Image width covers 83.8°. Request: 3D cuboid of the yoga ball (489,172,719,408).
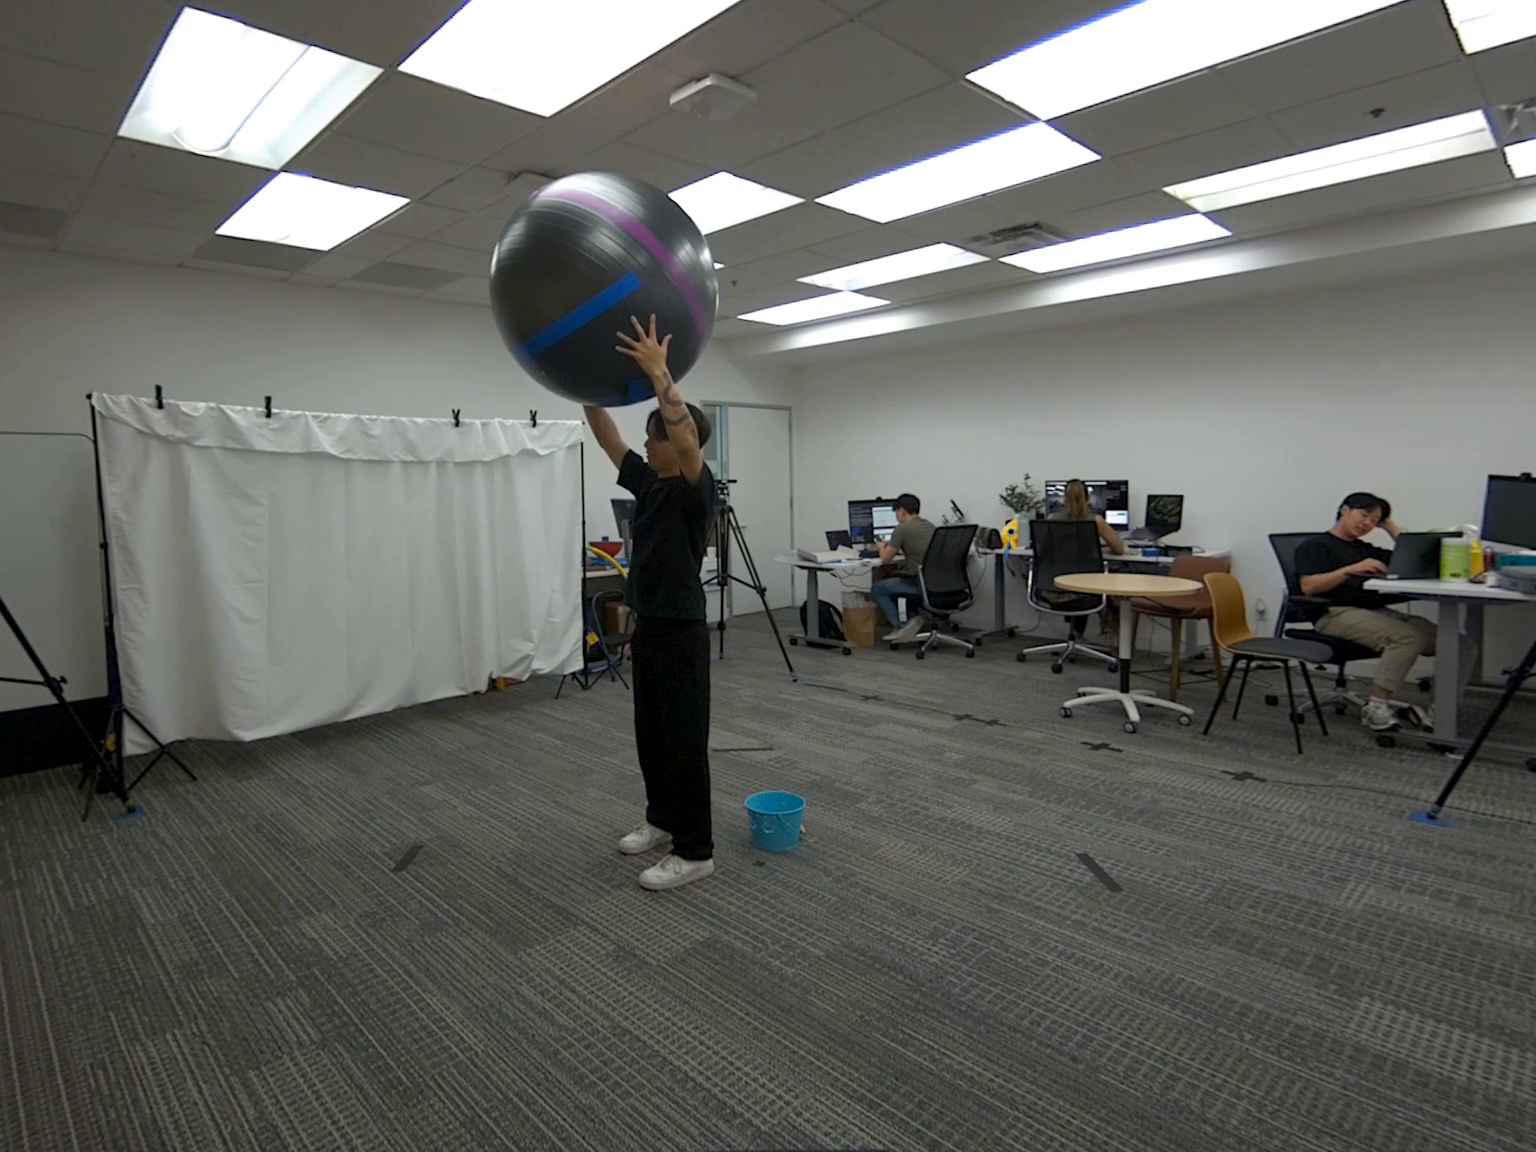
[{"bbox_3d":[-0.554,-0.954,2.889,0.757,0.755,0.762,-1,5,-2],"label":"yoga ball"}]
